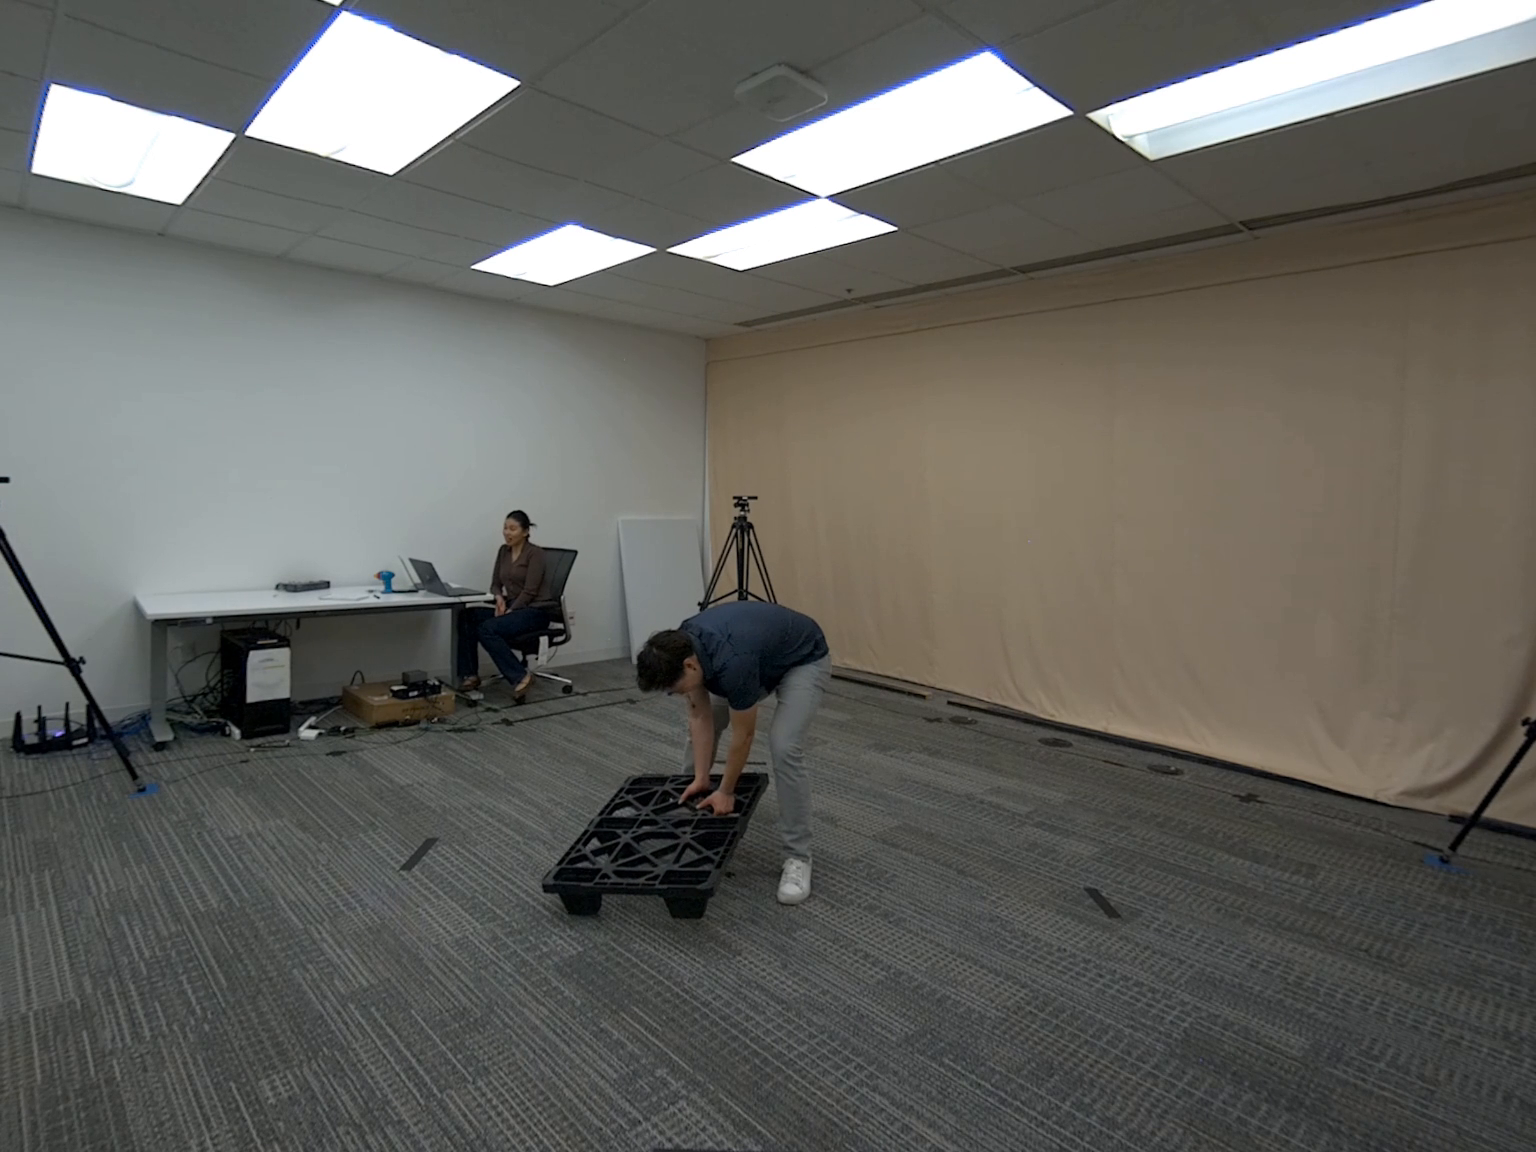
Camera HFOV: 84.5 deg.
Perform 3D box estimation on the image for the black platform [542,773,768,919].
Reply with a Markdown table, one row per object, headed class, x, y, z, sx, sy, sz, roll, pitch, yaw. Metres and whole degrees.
| class | x | y | z | sx | sy | sz | roll | pitch | yaw |
| --- | --- | --- | --- | --- | --- | --- | --- | --- | --- |
| black platform | -0.362 | 0.958 | 3.052 | 0.612 | 0.142 | 0.803 | -5 | 12 | 15 |
